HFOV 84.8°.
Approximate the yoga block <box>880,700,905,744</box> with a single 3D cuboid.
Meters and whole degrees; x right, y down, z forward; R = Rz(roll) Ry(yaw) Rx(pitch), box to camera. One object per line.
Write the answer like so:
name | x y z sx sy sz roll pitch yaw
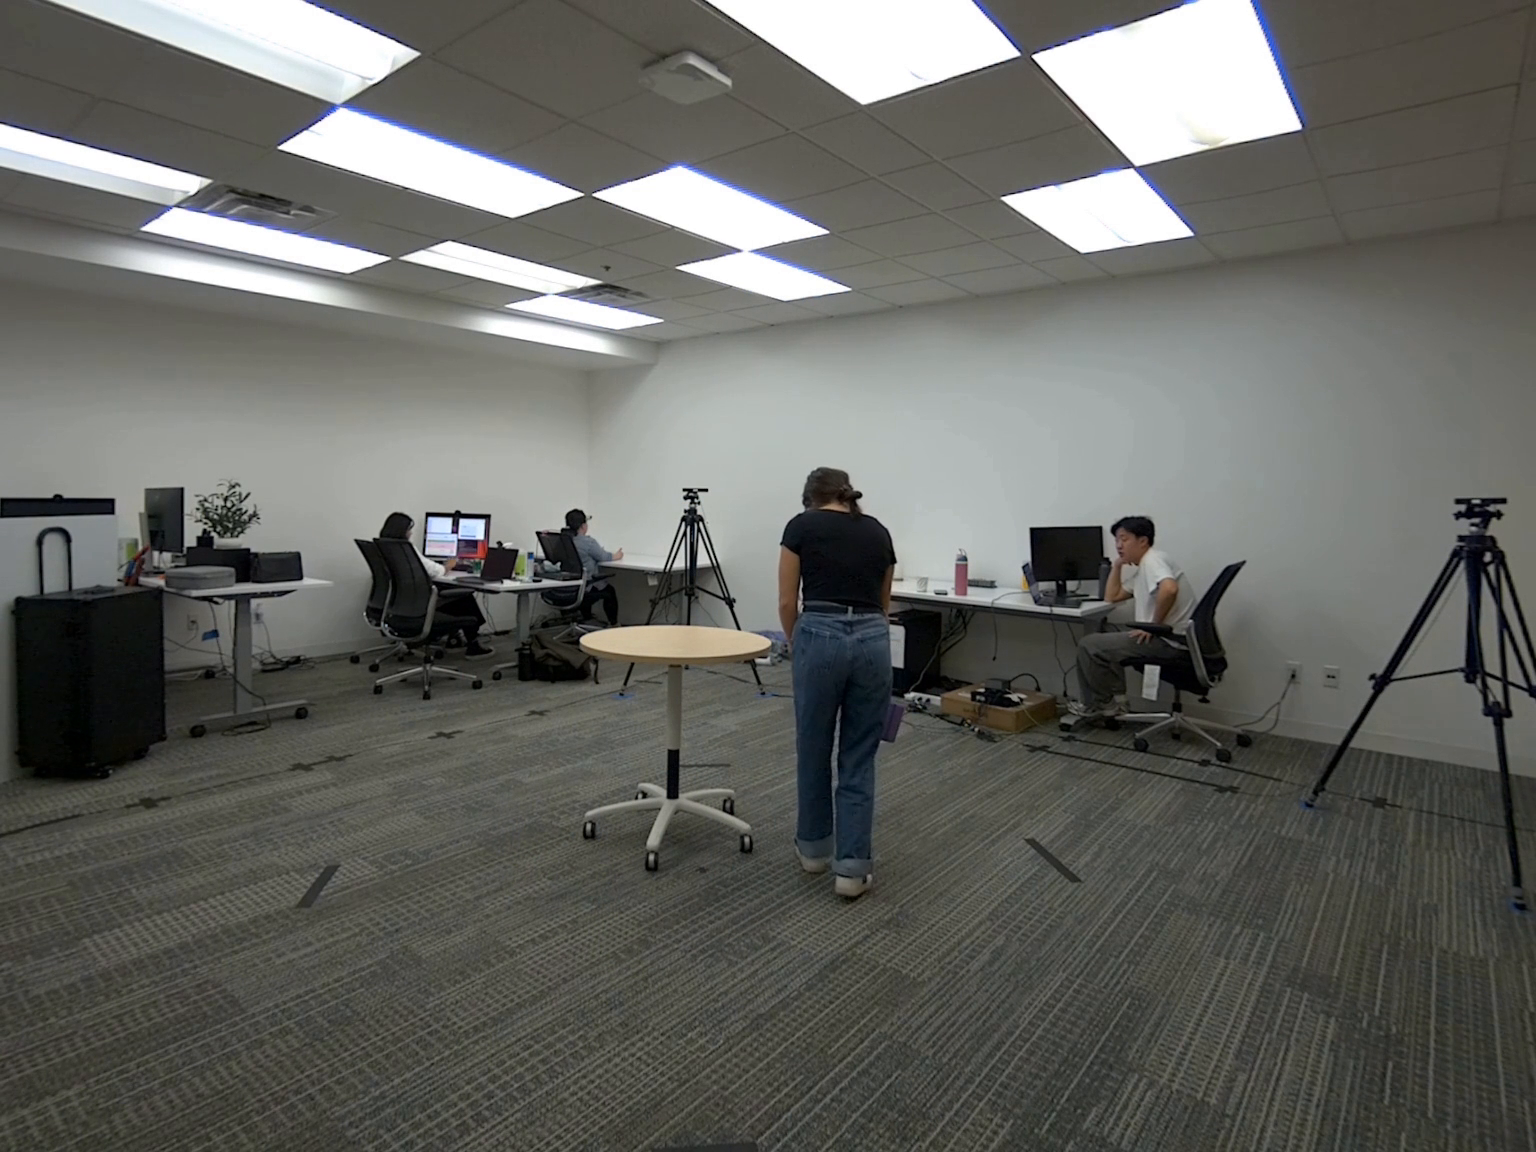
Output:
yoga block | 0.399 0.521 3.246 0.238 0.149 0.073 15 -3 43
